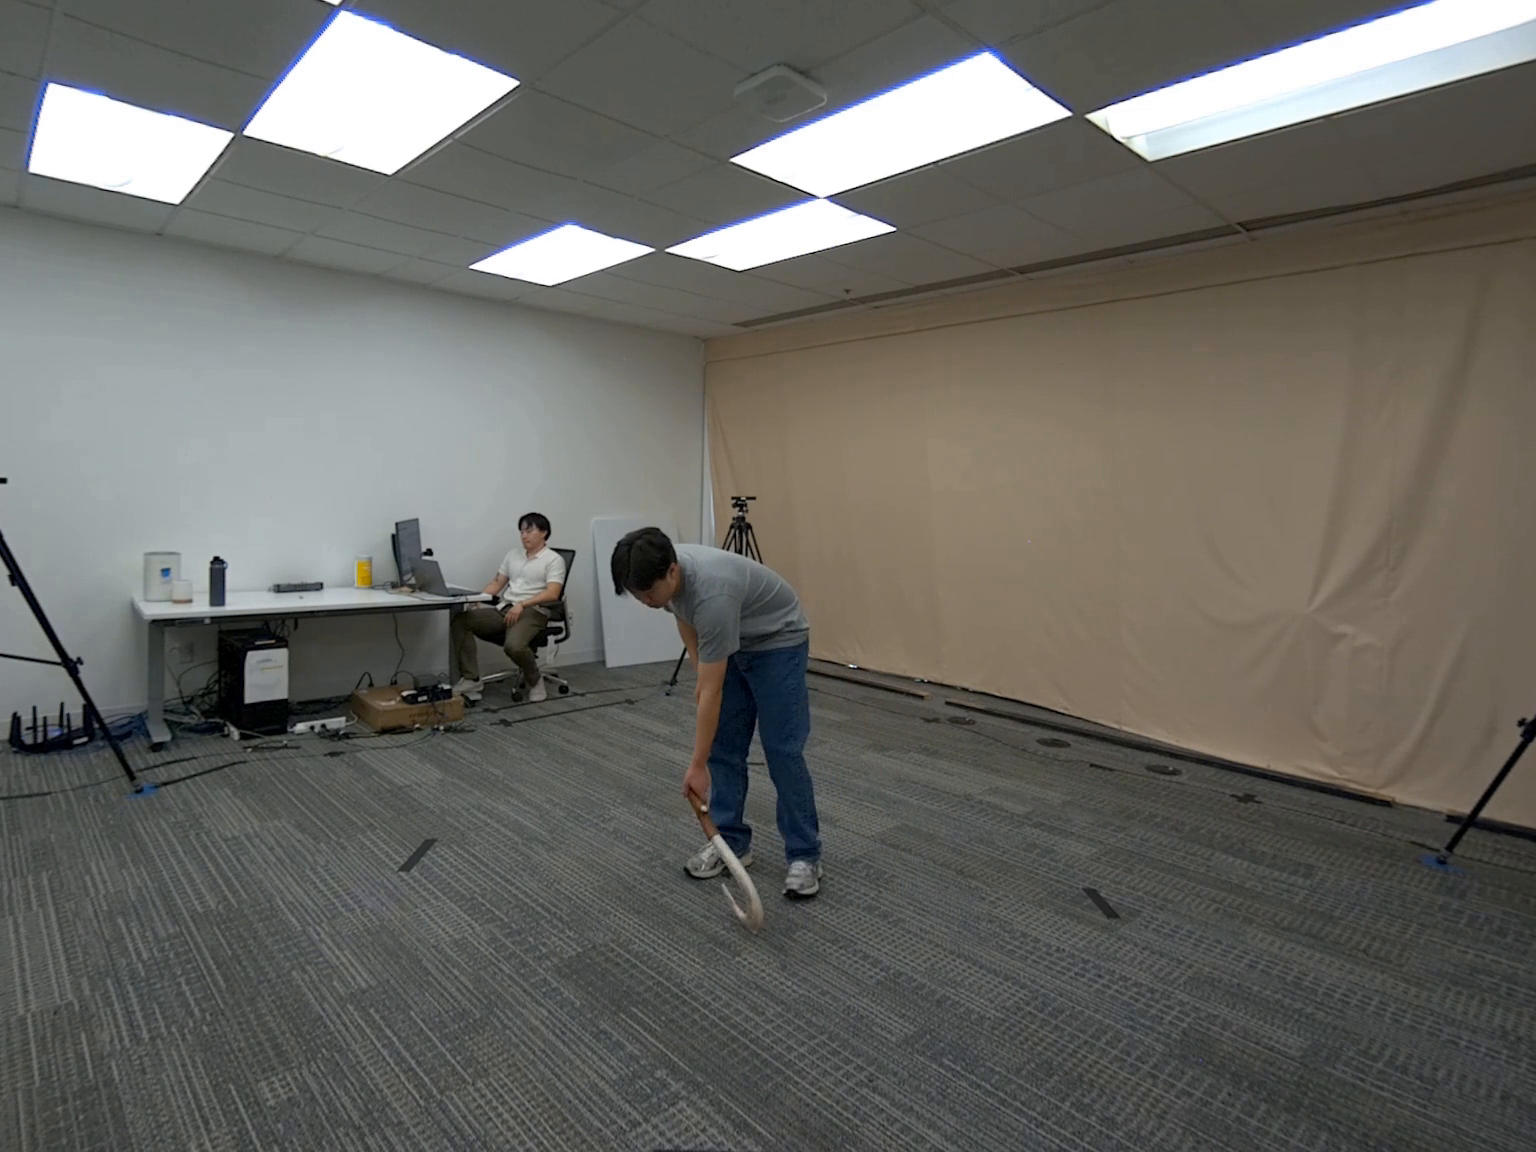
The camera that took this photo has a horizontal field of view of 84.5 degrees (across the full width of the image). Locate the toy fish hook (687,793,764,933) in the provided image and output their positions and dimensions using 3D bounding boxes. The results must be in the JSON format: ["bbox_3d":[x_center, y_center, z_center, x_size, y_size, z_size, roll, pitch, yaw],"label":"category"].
[{"bbox_3d":[-0.163,0.938,2.790,0.047,0.222,0.521,-12,50,-31],"label":"toy fish hook"}]
